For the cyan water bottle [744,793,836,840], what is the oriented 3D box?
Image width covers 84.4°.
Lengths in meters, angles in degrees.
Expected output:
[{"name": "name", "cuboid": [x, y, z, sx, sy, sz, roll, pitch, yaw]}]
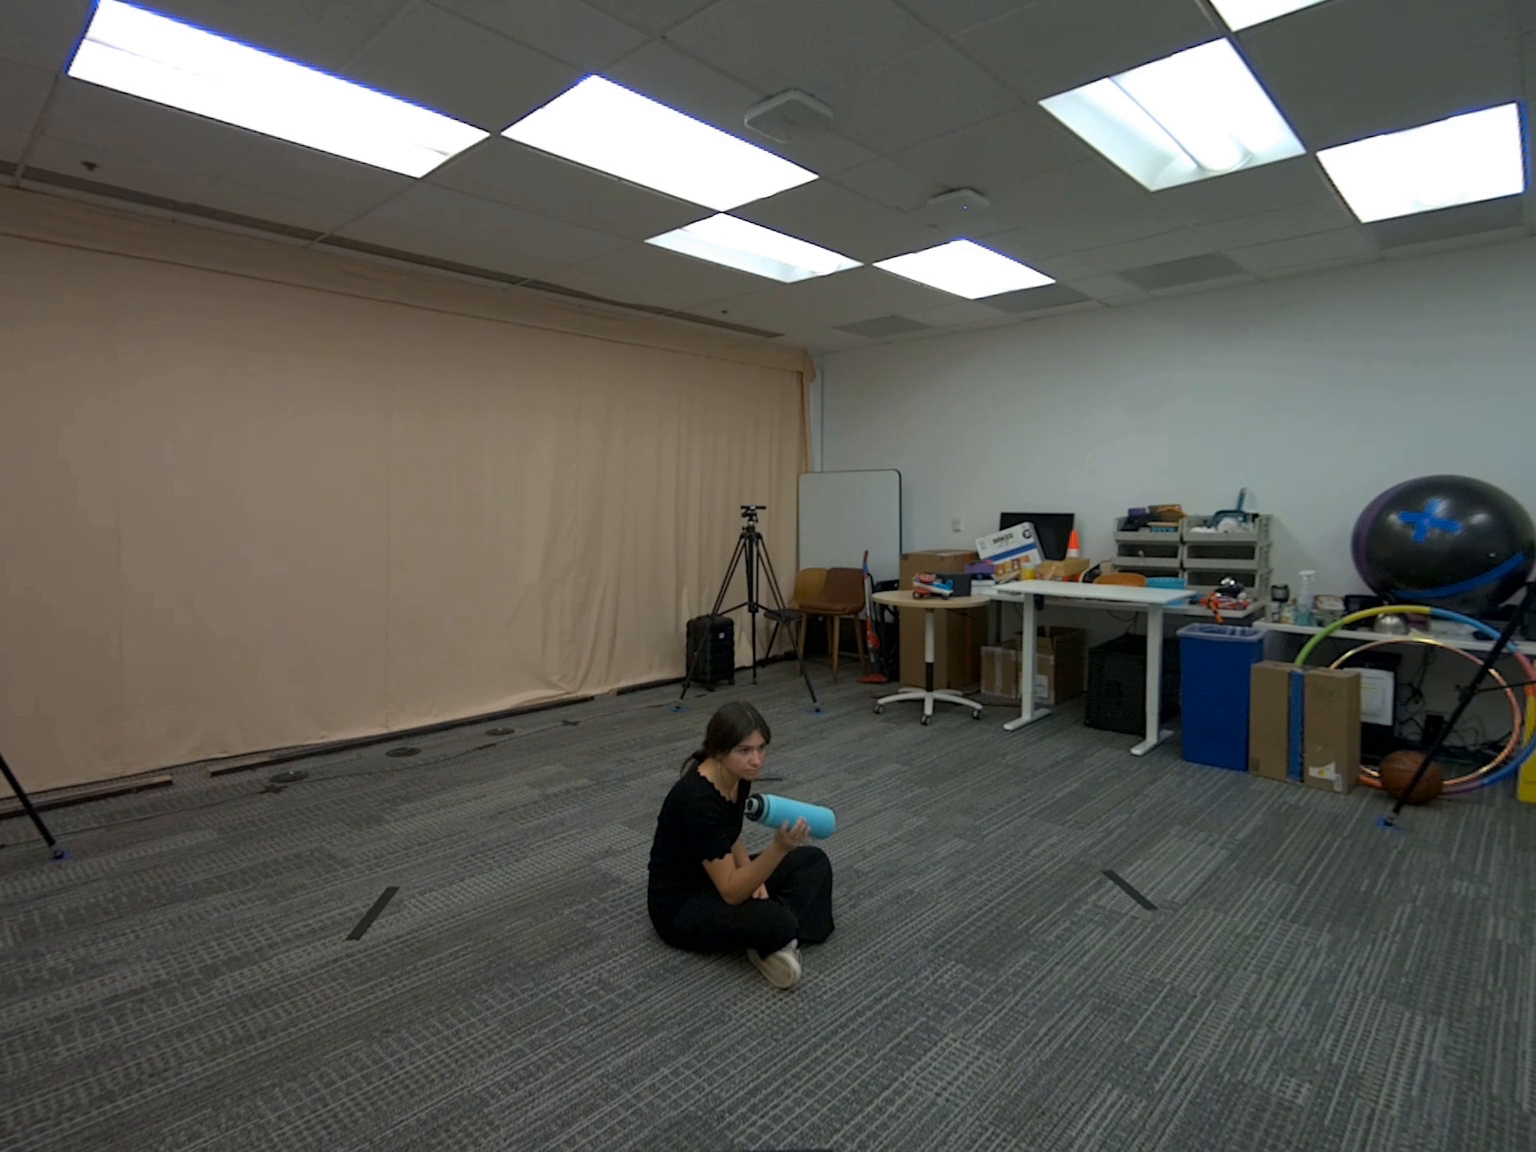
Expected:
[{"name": "cyan water bottle", "cuboid": [0.061, 0.696, 2.445, 0.276, 0.092, 0.095, 20, -5, -24]}]
